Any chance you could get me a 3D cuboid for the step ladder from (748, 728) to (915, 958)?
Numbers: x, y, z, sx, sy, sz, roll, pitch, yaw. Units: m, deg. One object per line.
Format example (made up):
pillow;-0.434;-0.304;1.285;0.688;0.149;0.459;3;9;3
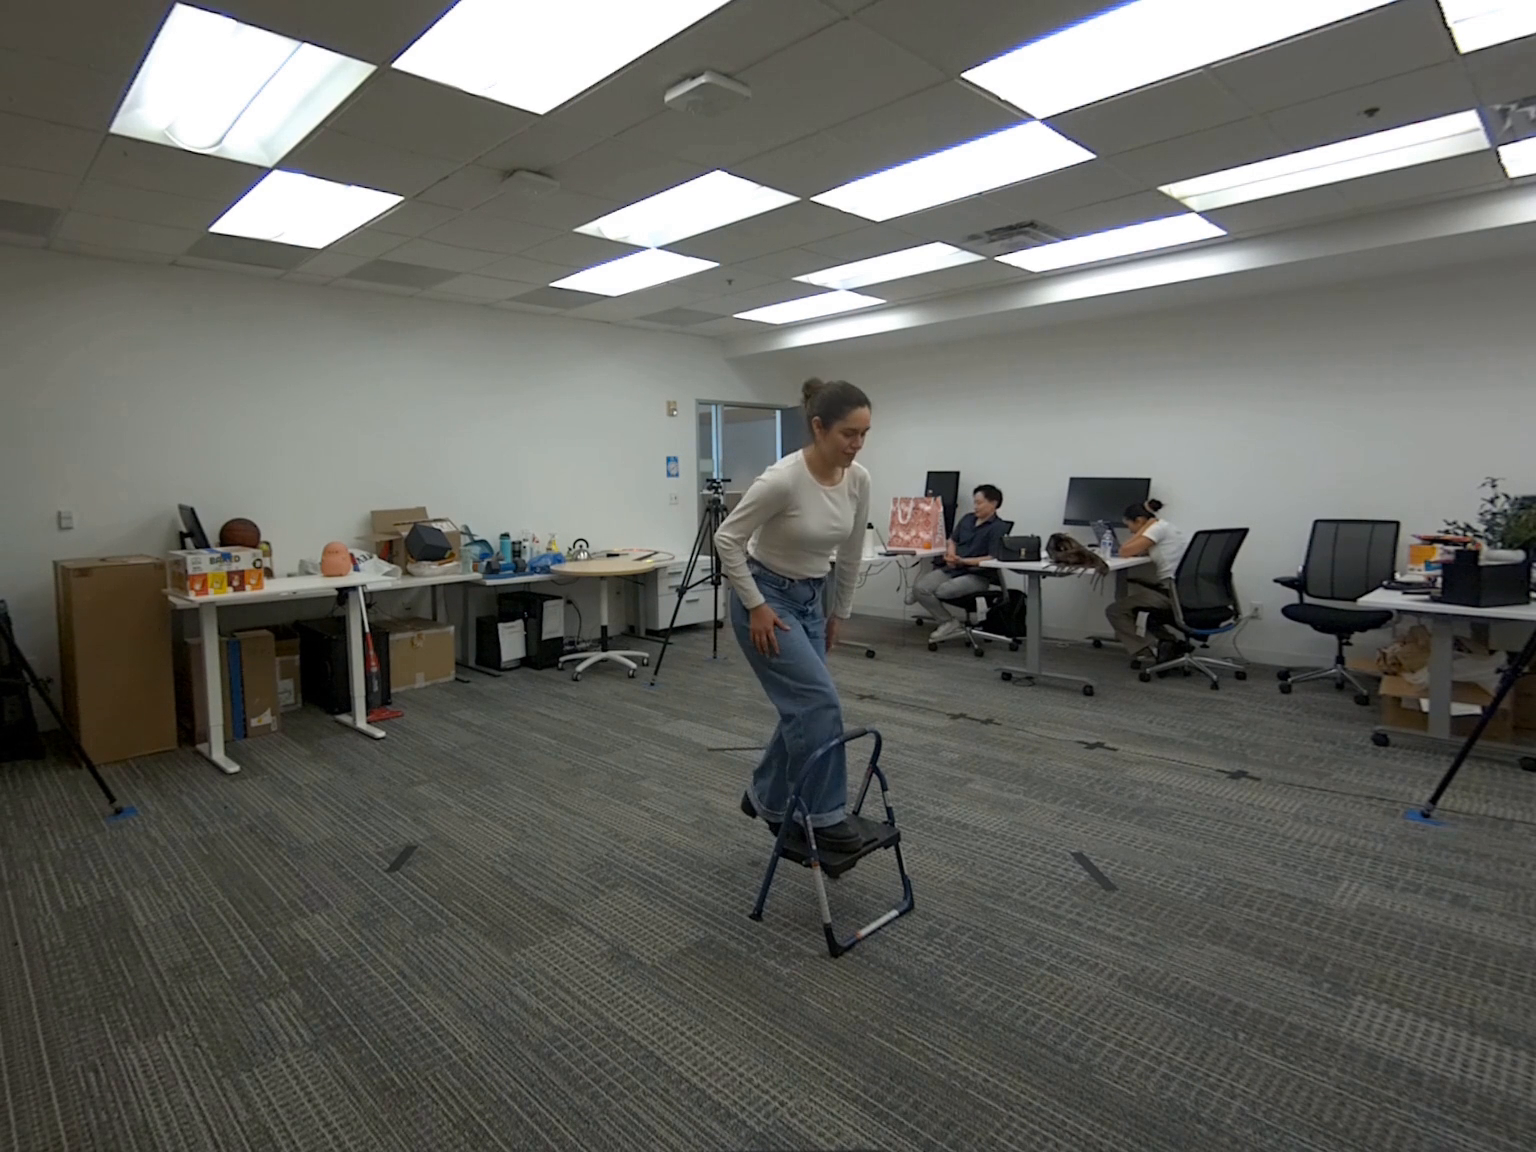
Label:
step ladder;0.208;0.781;2.727;0.360;0.604;0.419;3;6;44
